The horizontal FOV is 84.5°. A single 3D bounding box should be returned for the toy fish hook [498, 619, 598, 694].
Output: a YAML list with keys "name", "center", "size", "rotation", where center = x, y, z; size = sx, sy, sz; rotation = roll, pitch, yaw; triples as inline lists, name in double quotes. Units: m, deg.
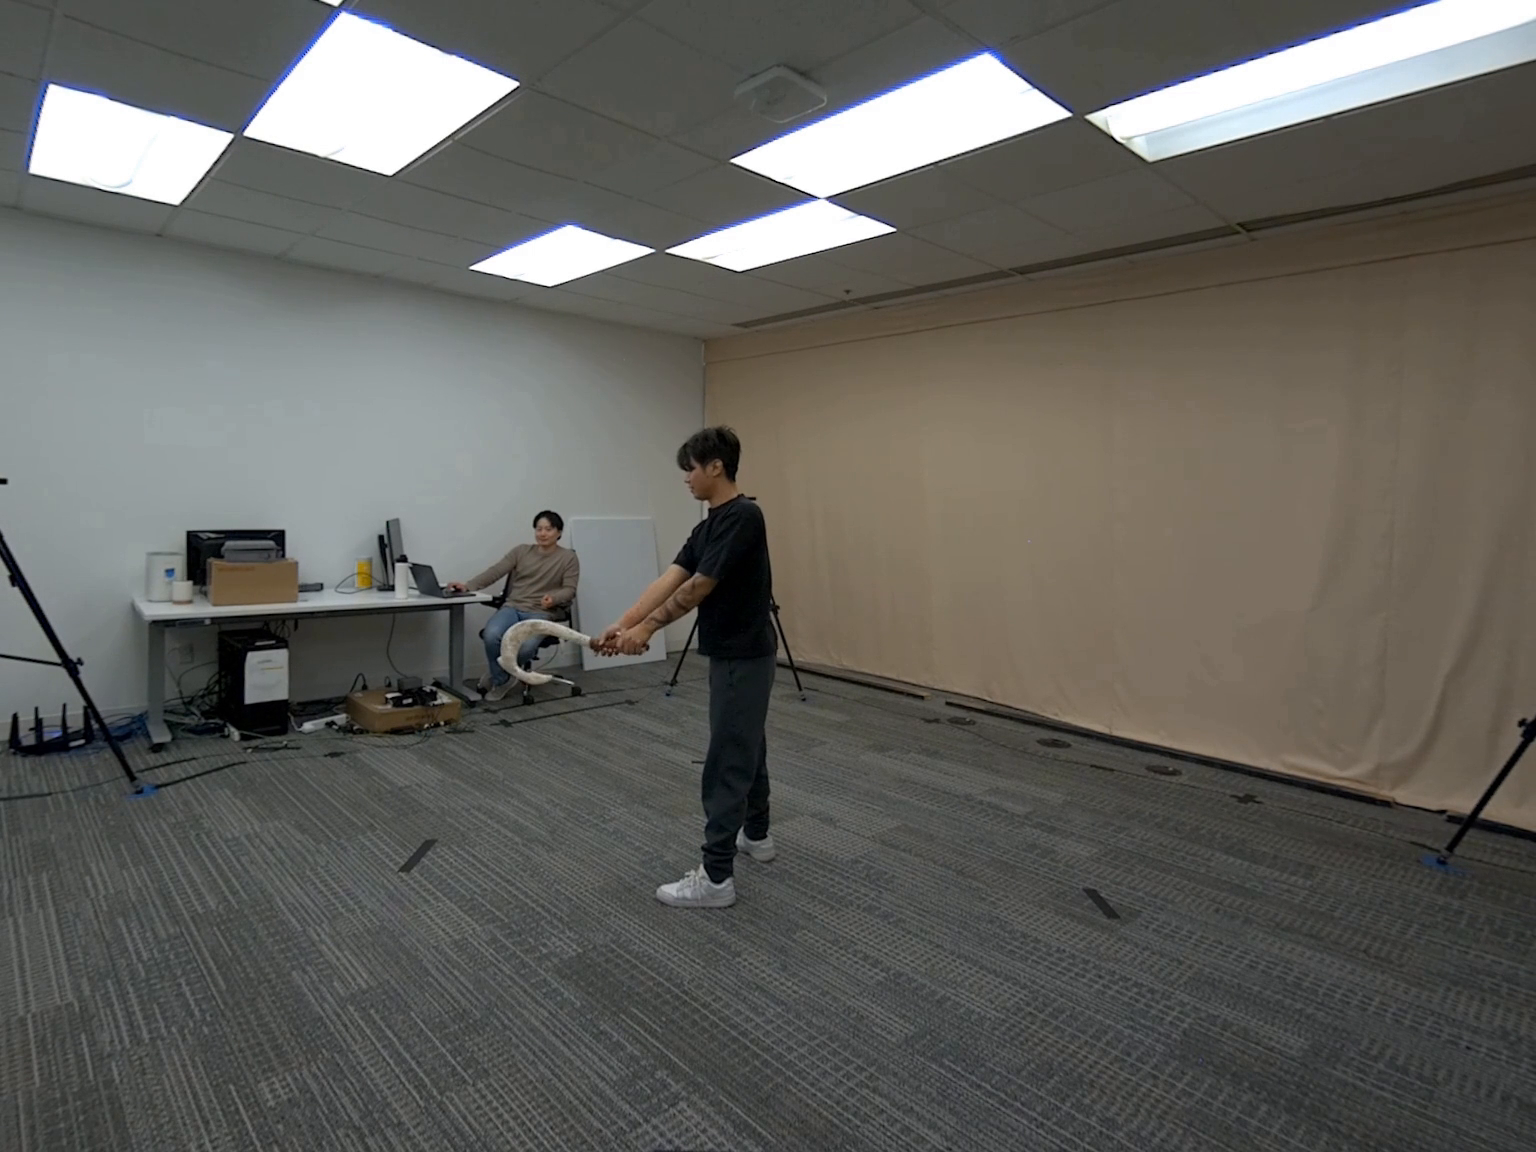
- name: "toy fish hook"
  center: [-0.642, 0.264, 2.853]
  size: [0.509, 0.227, 0.047]
  rotation: [5, -20, 6]
